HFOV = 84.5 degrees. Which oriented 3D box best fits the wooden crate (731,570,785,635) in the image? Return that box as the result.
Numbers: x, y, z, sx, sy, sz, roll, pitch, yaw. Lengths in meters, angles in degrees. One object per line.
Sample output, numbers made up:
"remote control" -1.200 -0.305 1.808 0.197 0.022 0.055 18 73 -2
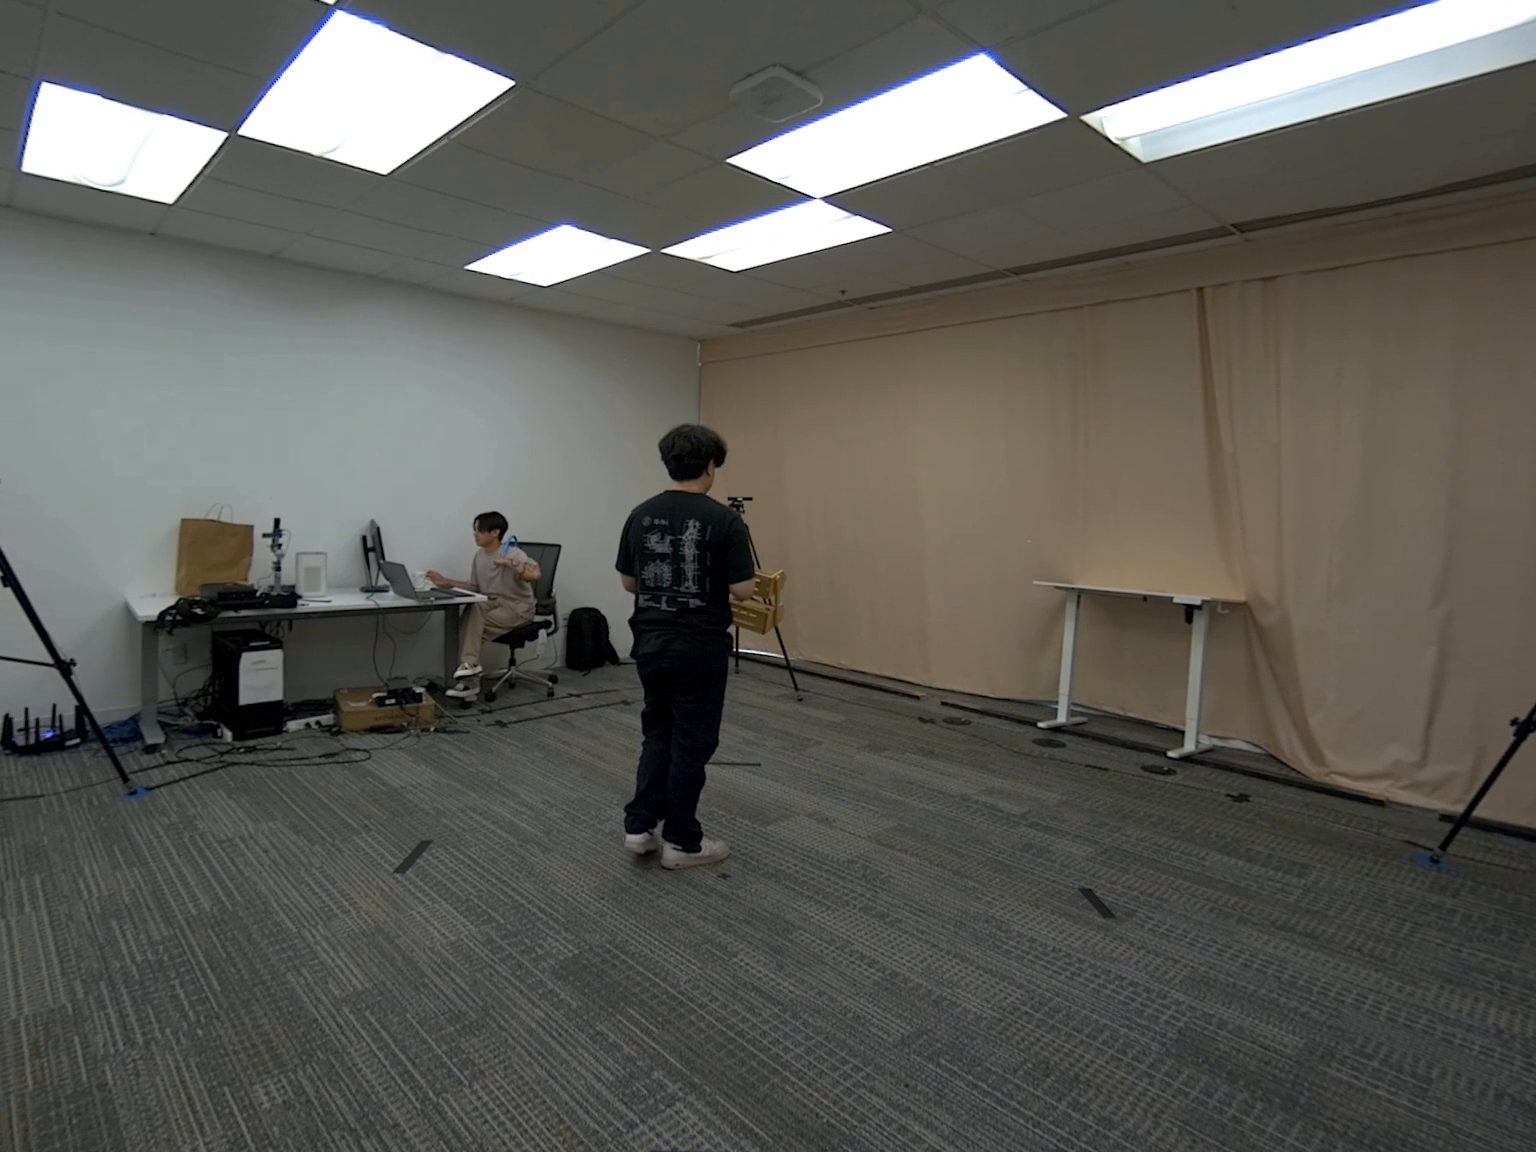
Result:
"wooden crate" -0.103 0.054 3.531 0.330 0.271 0.300 15 16 17
